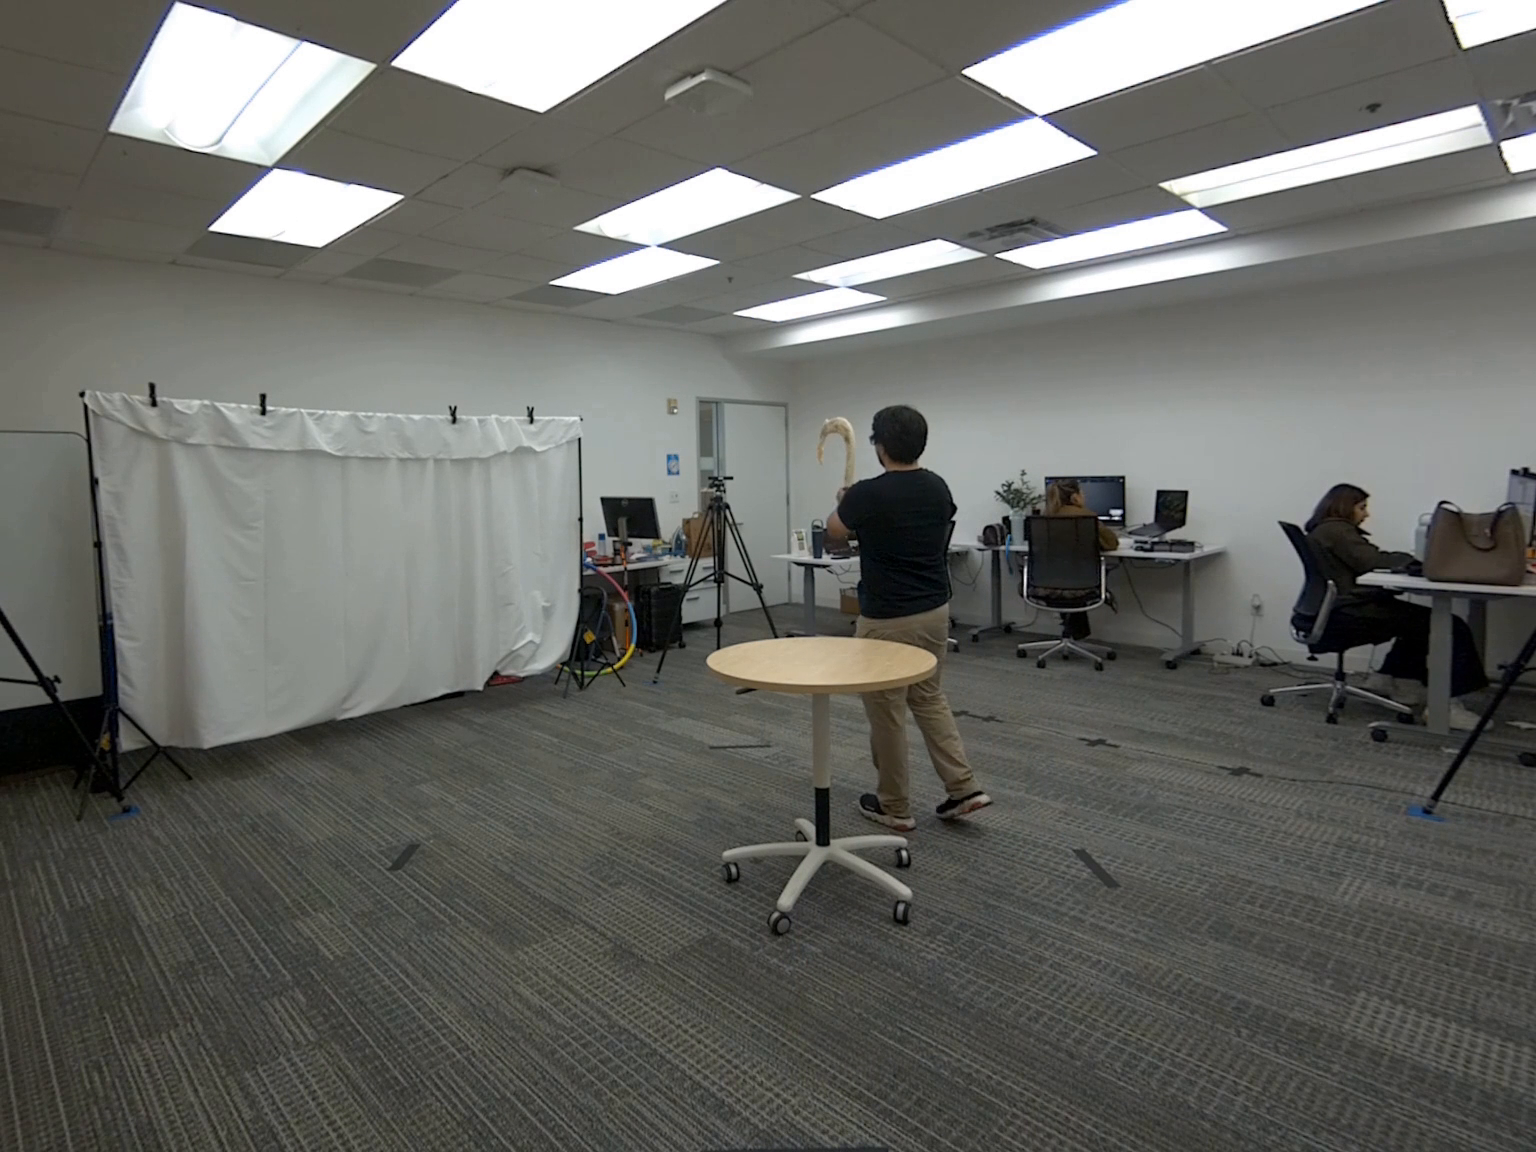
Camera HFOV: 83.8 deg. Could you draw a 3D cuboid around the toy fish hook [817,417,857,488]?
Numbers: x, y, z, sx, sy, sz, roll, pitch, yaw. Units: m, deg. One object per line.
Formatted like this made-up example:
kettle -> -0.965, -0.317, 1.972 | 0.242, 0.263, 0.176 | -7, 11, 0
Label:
toy fish hook -> 0.323, -0.443, 3.774 | 0.047, 0.506, 0.230 | -6, 1, -34
